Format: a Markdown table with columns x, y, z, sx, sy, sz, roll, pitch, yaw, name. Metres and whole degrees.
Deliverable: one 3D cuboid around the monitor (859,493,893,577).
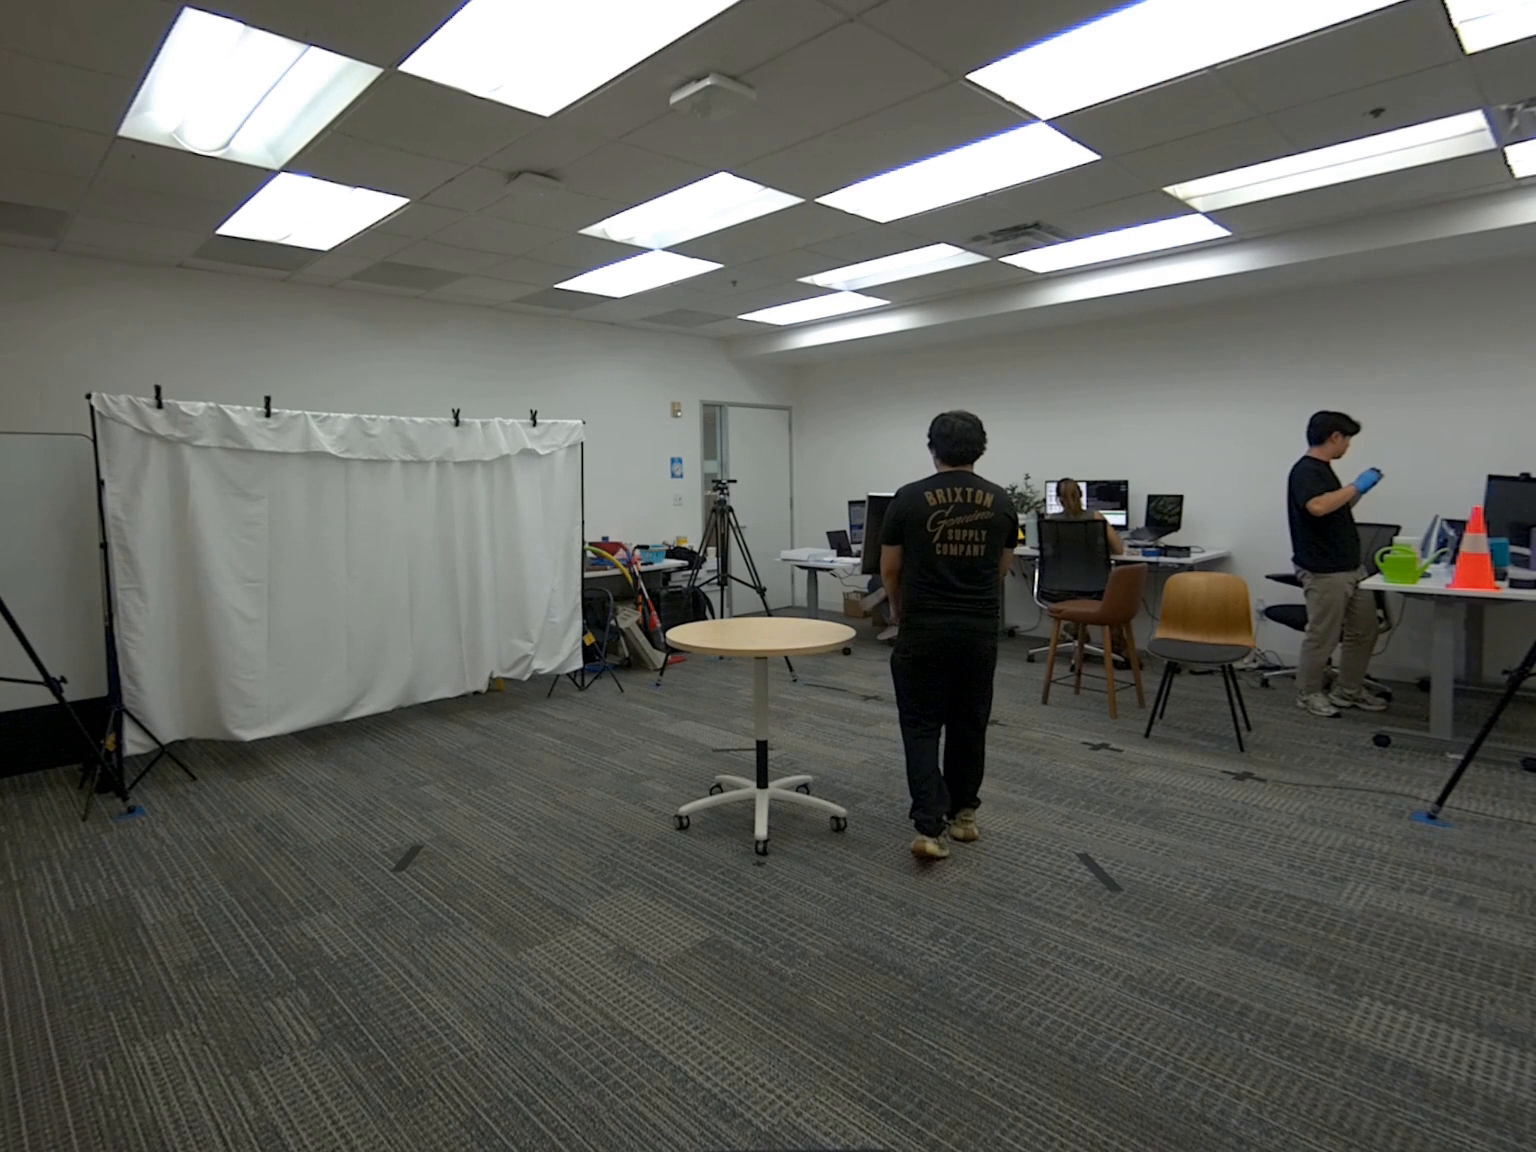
| x | y | z | sx | sy | sz | roll | pitch | yaw | name |
| --- | --- | --- | --- | --- | --- | --- | --- | --- | --- |
| 0.663 | -0.052 | 3.410 | 0.565 | 0.544 | 0.214 | 2 | 21 | 0 | monitor |
